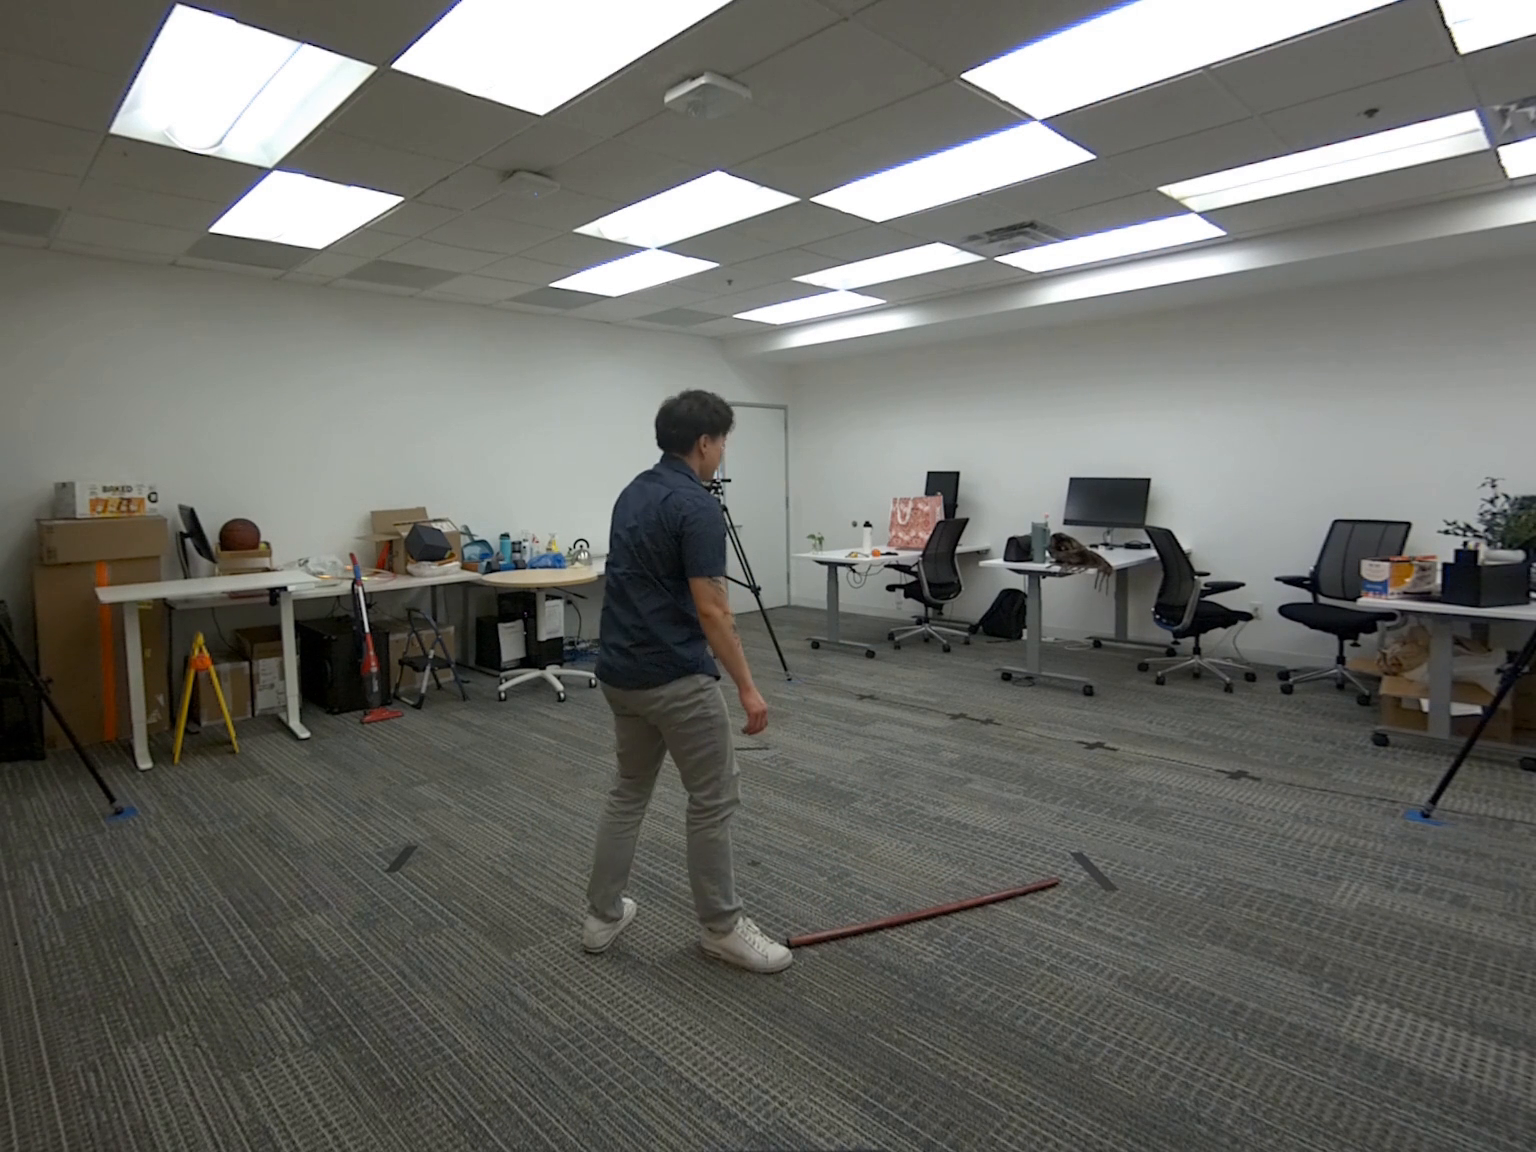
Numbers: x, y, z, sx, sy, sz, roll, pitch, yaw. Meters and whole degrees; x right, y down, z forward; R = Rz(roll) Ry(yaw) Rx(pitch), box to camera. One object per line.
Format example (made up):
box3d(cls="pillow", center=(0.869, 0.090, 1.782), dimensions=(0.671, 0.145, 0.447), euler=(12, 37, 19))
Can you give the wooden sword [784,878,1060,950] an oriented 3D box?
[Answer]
box3d(cls="wooden sword", center=(0.521, 1.062, 2.728), dimensions=(1.006, 0.024, 0.052), euler=(-4, 4, -21))
